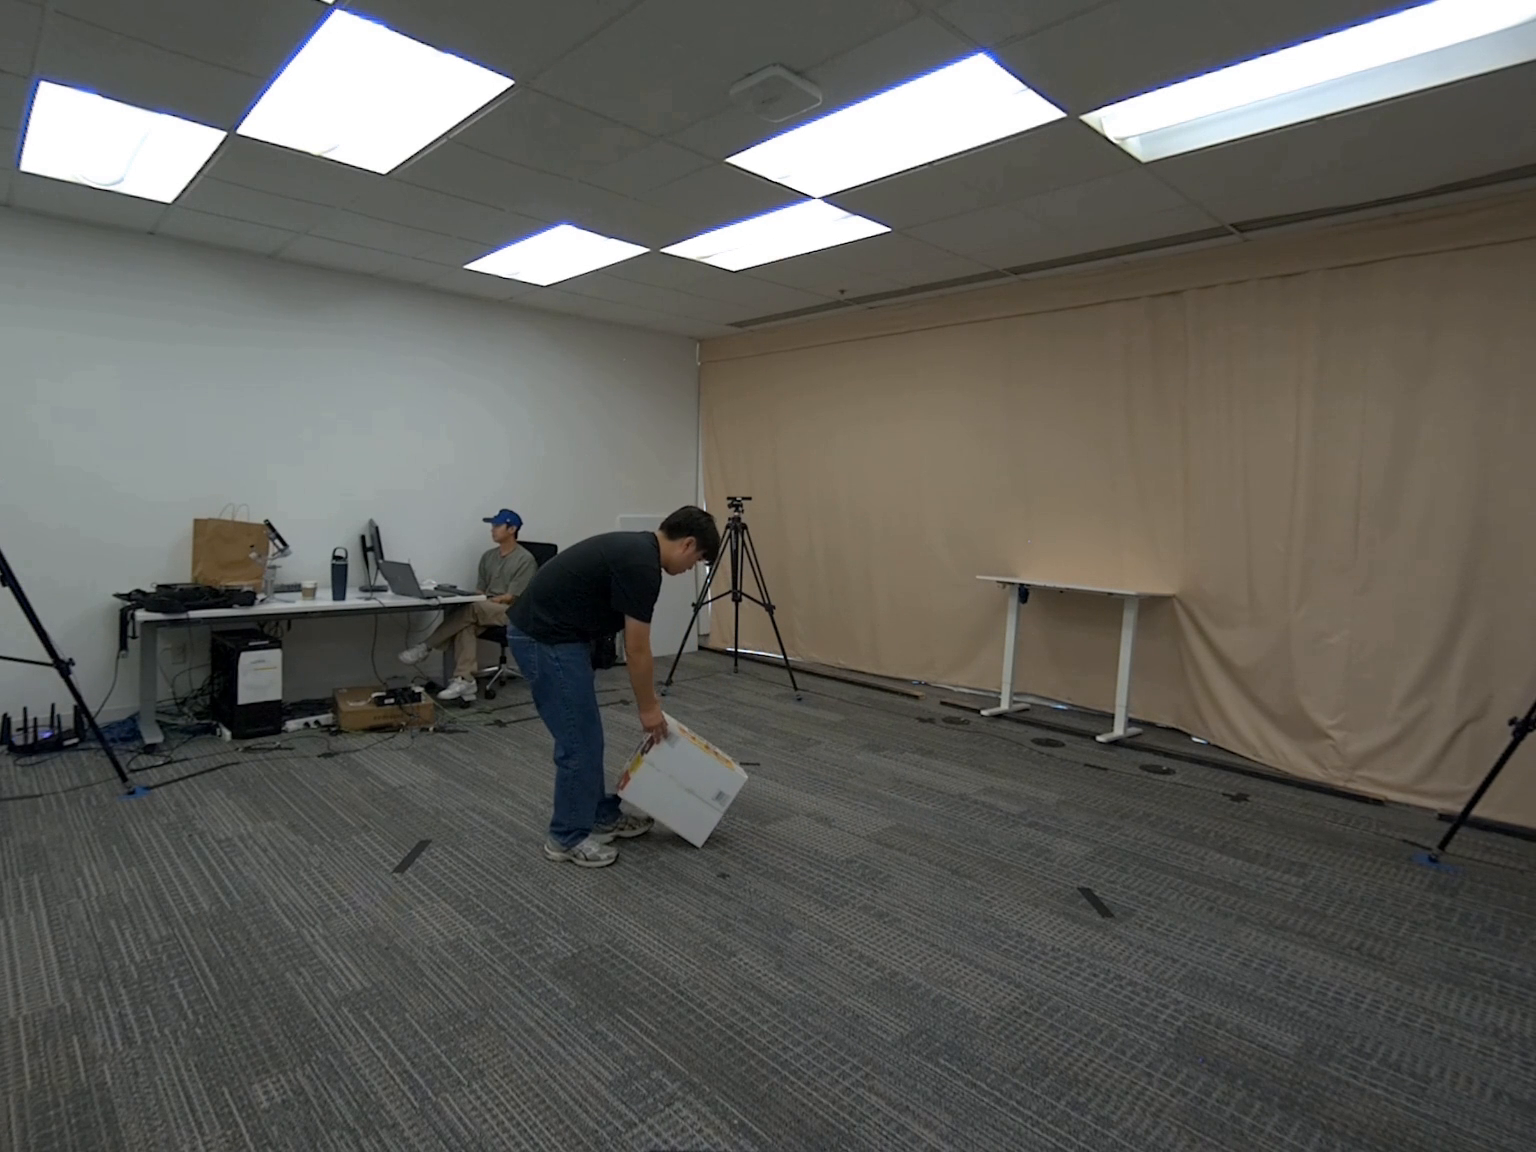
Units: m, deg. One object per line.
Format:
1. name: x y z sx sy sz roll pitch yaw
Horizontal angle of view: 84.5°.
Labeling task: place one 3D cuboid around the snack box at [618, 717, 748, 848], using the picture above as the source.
1. snack box: -0.359 0.821 3.405 0.400 0.340 0.208 36 -3 -11
